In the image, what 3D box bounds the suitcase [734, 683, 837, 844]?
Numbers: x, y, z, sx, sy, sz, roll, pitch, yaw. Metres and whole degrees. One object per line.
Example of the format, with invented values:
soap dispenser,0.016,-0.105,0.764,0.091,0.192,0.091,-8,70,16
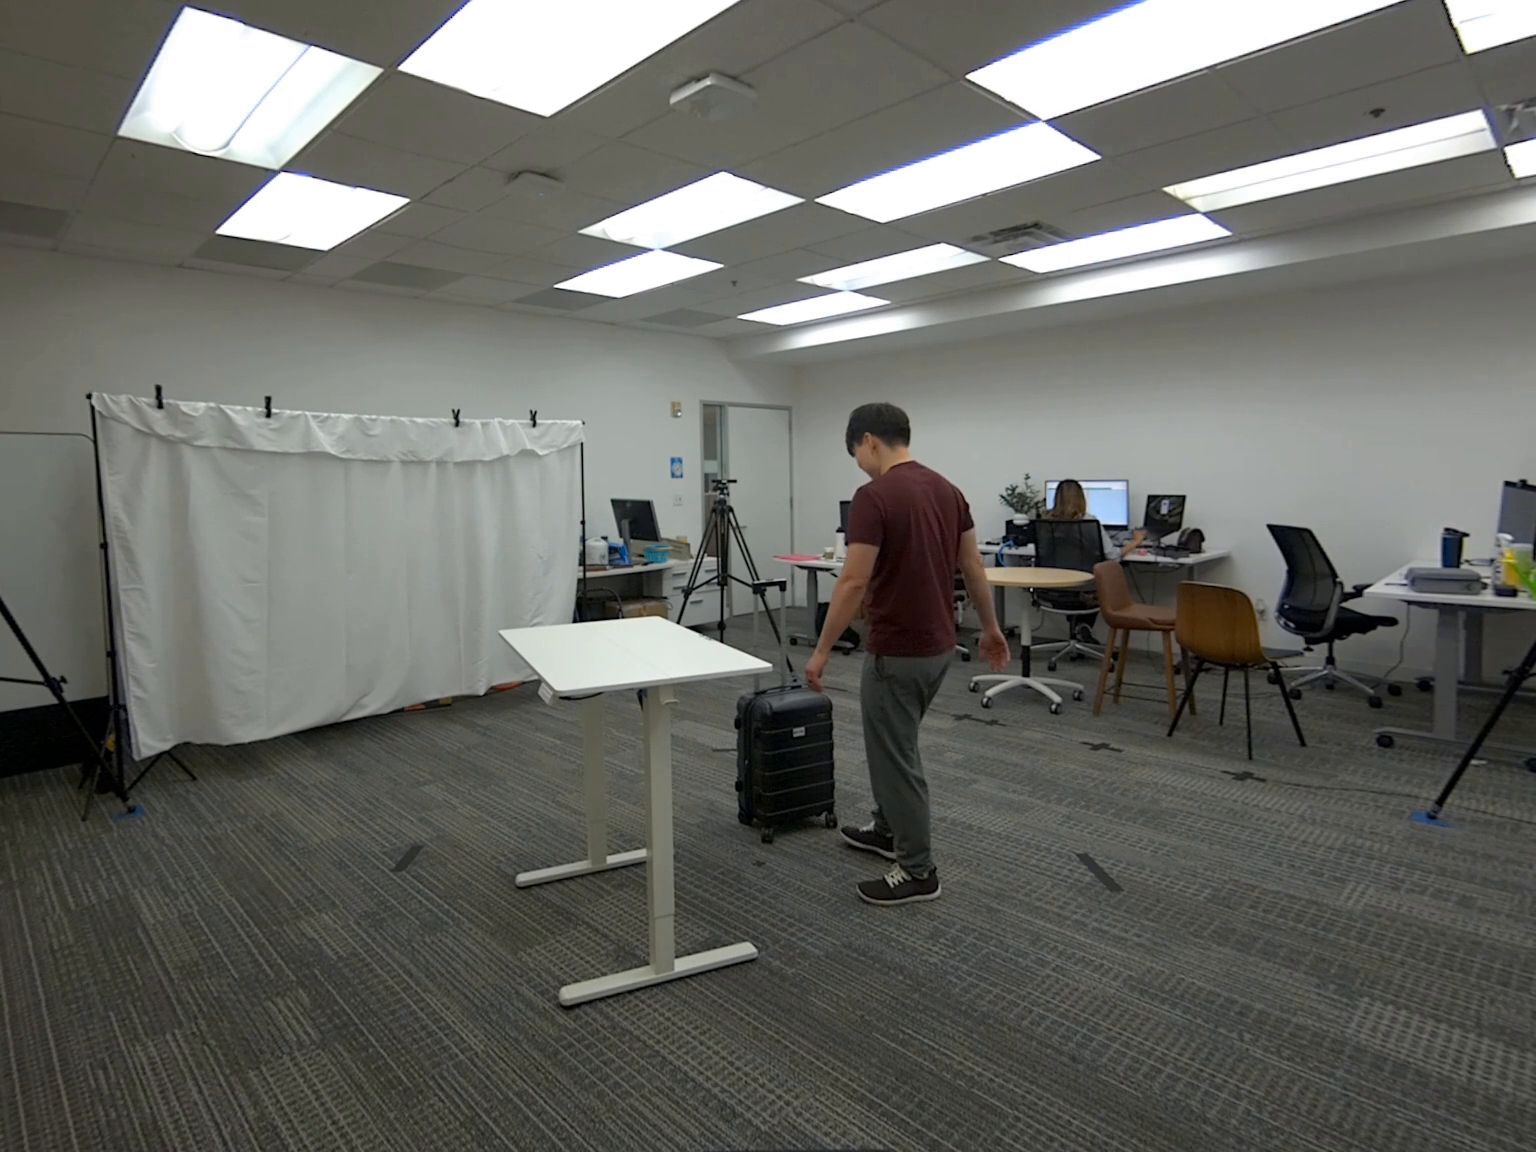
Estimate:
suitcase,0.069,0.526,3.448,0.376,0.974,0.263,-3,5,-25
